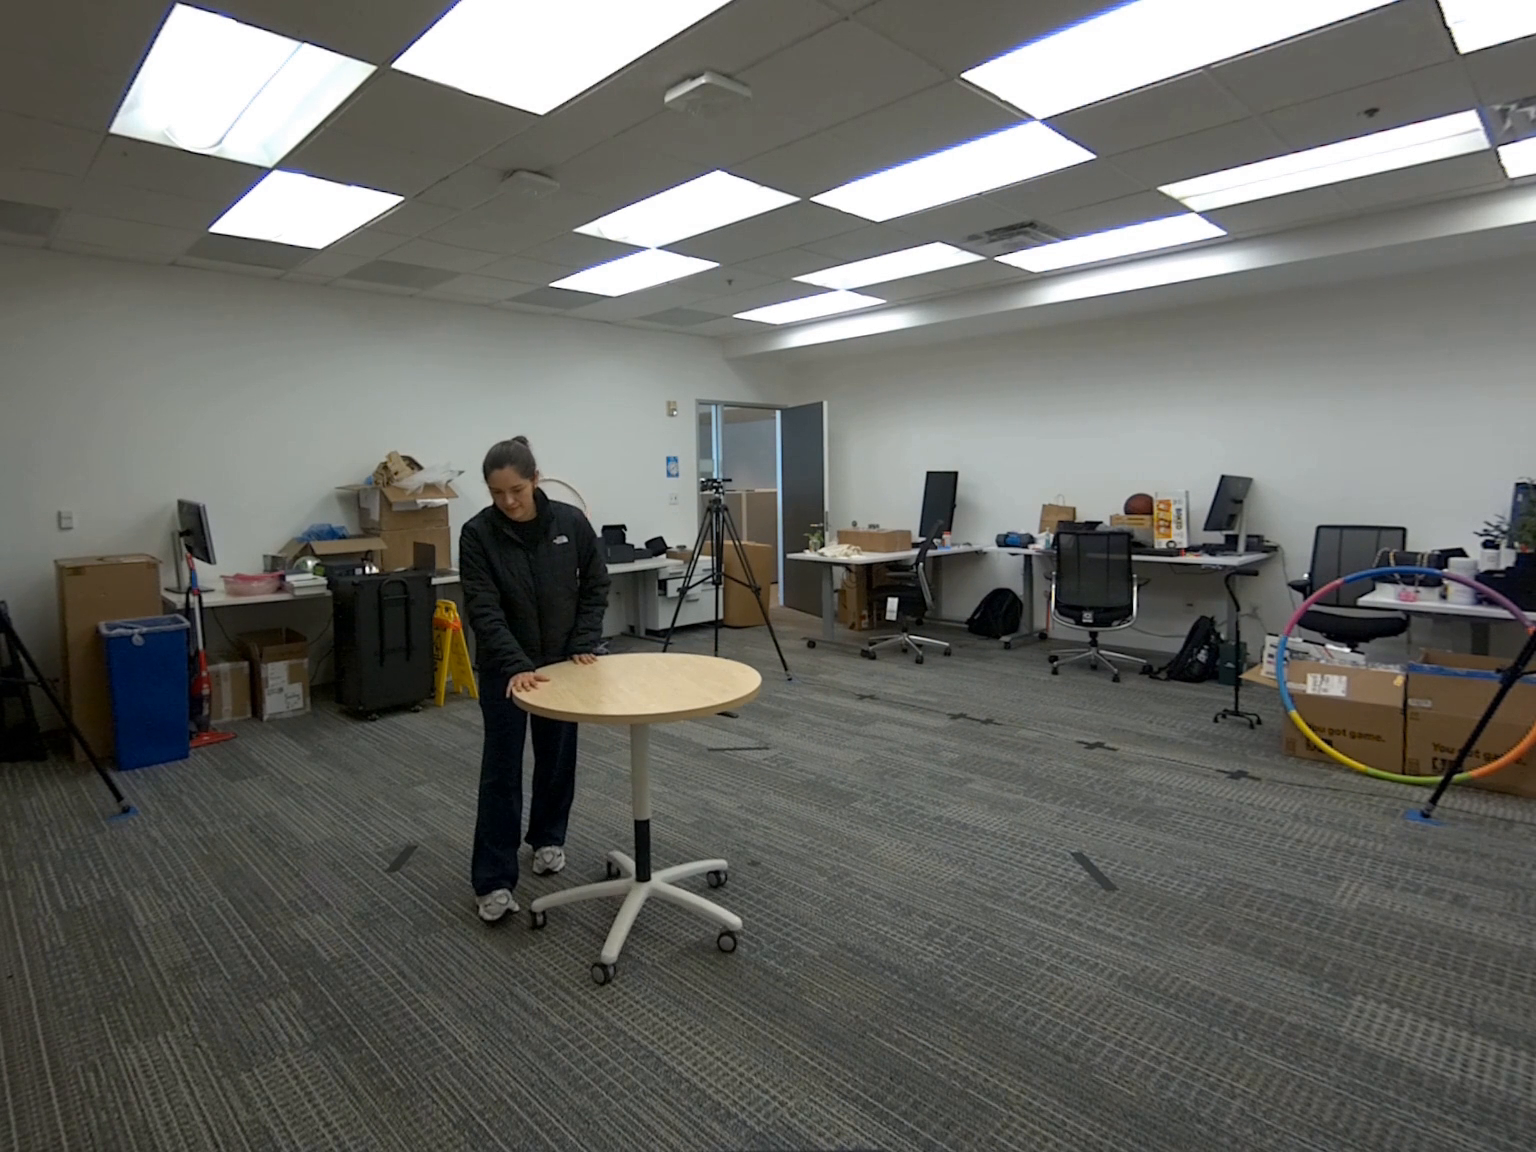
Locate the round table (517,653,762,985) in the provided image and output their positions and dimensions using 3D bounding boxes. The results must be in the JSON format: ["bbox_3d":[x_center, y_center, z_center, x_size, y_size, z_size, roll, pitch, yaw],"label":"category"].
[{"bbox_3d":[-0.407,0.706,2.694,0.784,0.783,0.789,-1,5,-2],"label":"round table"}]
